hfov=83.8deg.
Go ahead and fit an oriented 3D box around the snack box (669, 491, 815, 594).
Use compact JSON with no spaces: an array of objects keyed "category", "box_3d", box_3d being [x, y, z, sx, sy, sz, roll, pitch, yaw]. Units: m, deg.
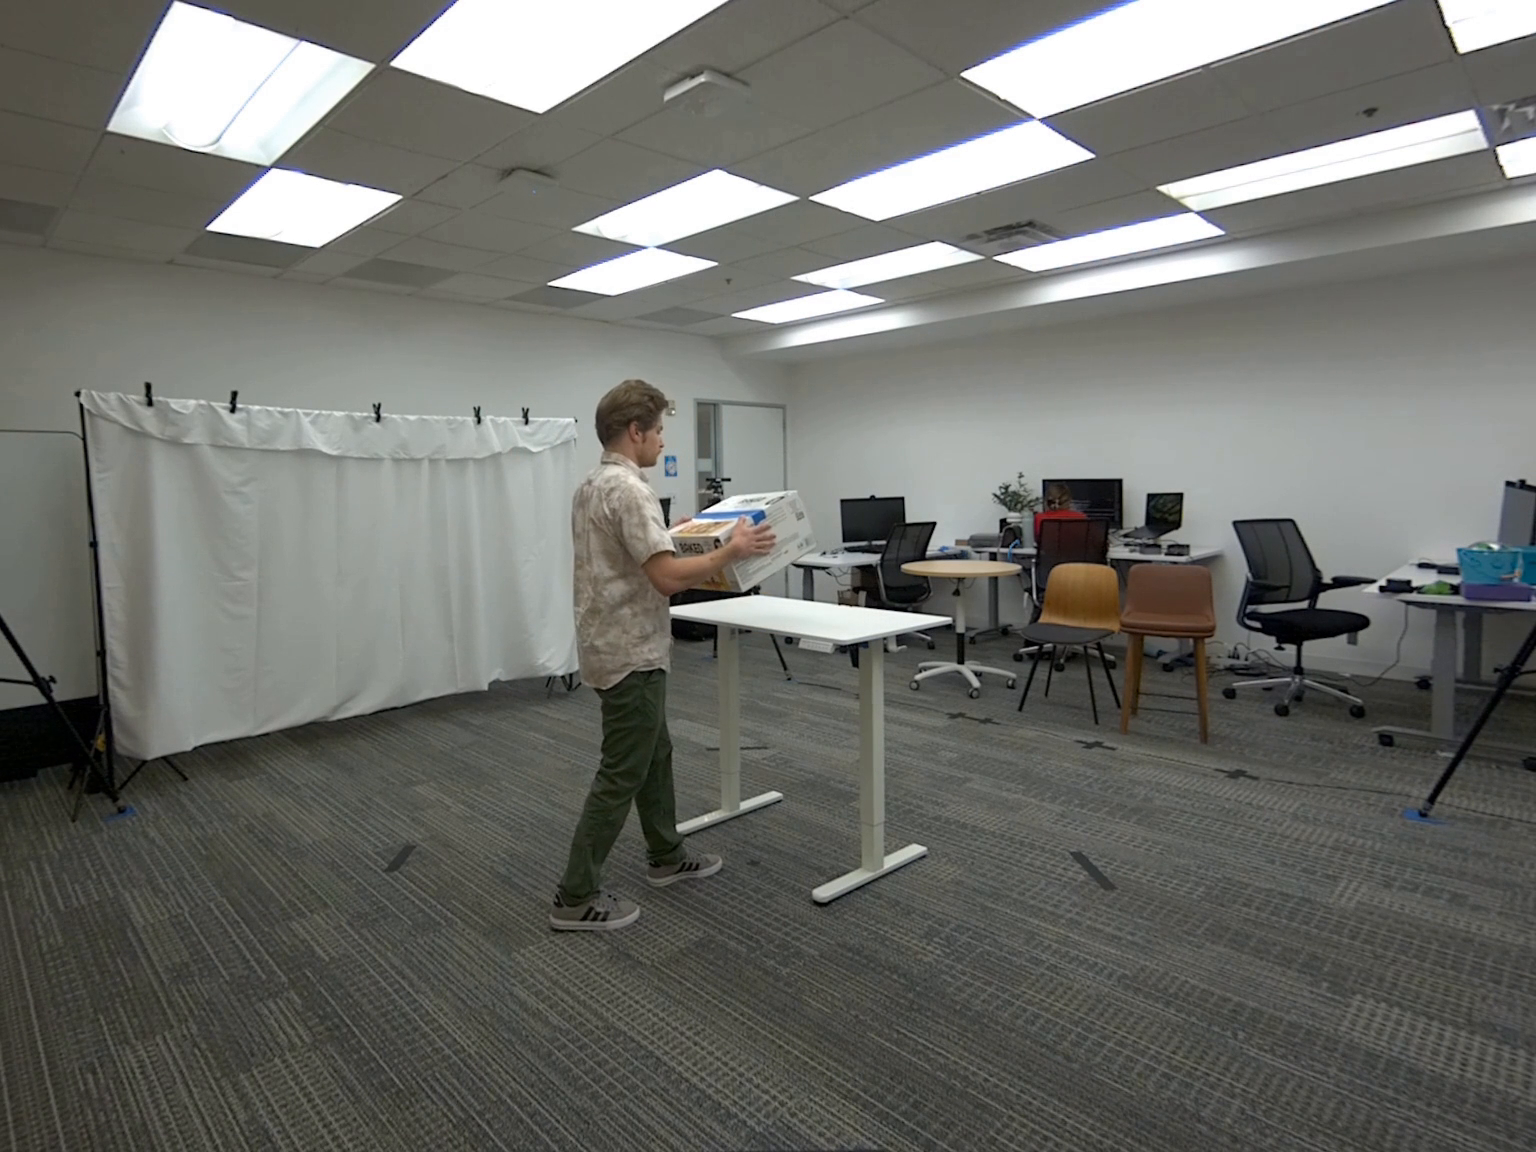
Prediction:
[{"category":"snack box","box_3d":[-0.105,-0.116,2.888,0.337,0.202,0.416,-31,18,-29]}]
